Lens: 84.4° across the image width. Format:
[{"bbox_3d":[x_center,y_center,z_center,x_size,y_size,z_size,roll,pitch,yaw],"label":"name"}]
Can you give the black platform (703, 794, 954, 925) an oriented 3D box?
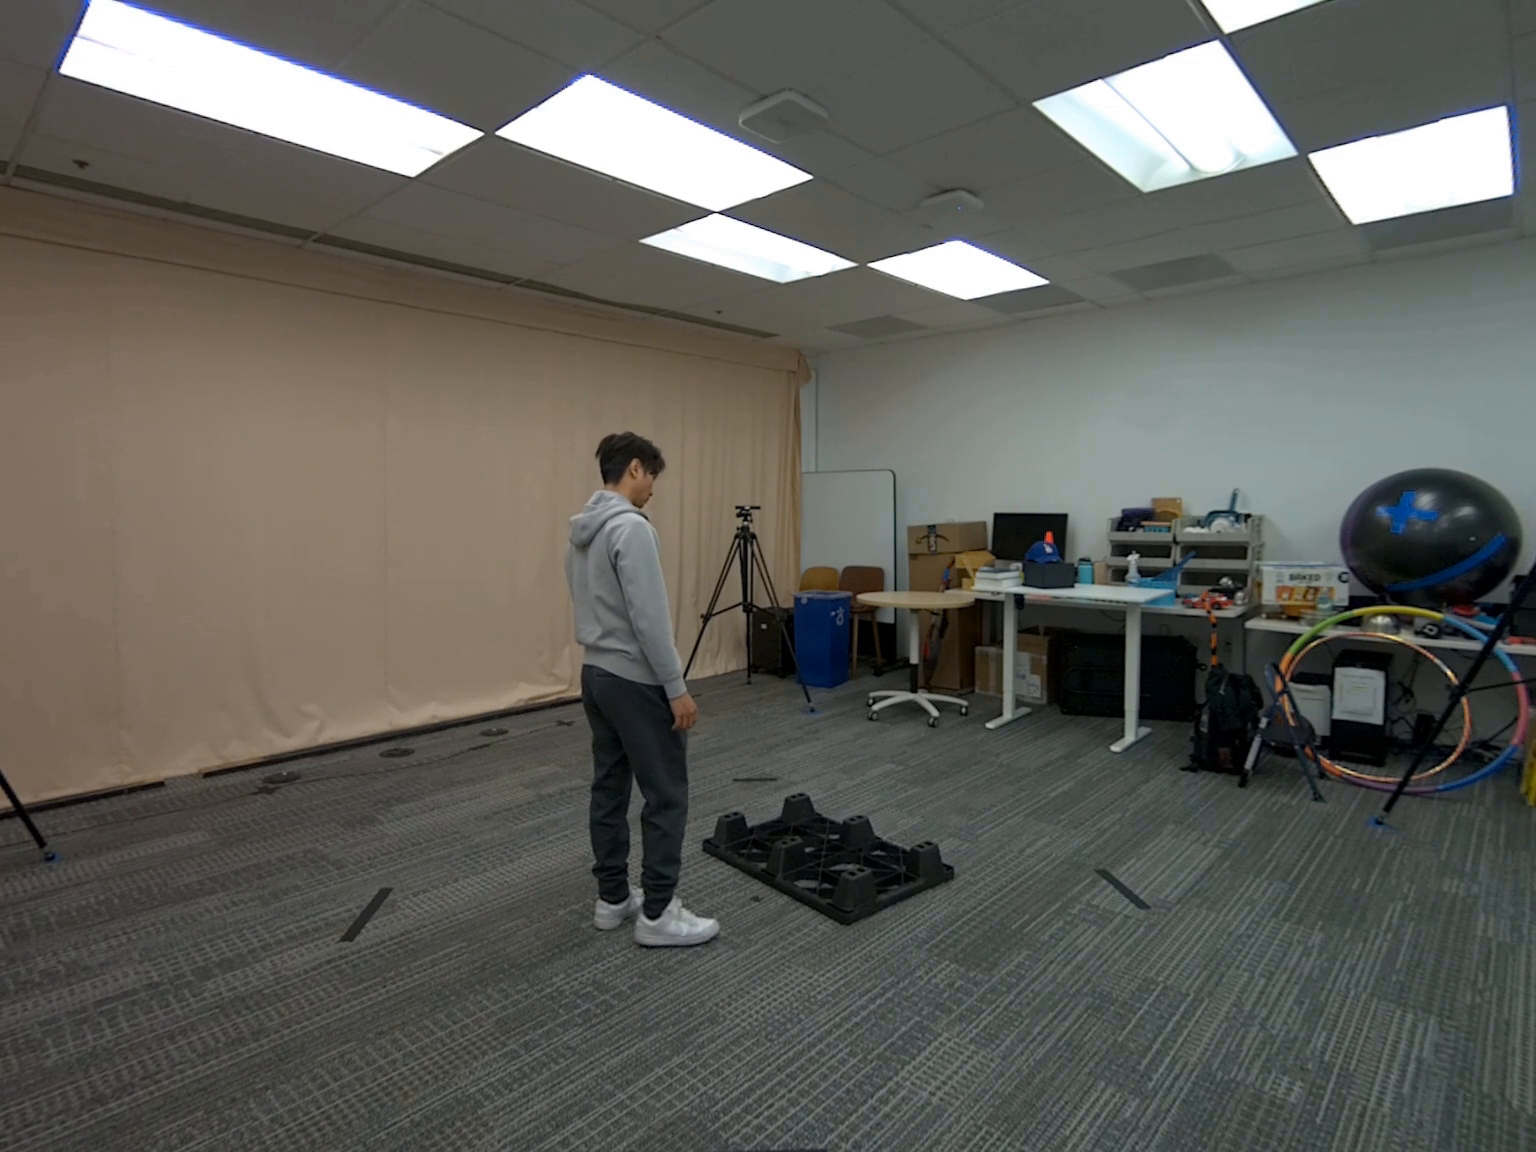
[{"bbox_3d":[0.225,1.054,3.275,0.587,0.143,0.832,-5,7,-41],"label":"black platform"}]
